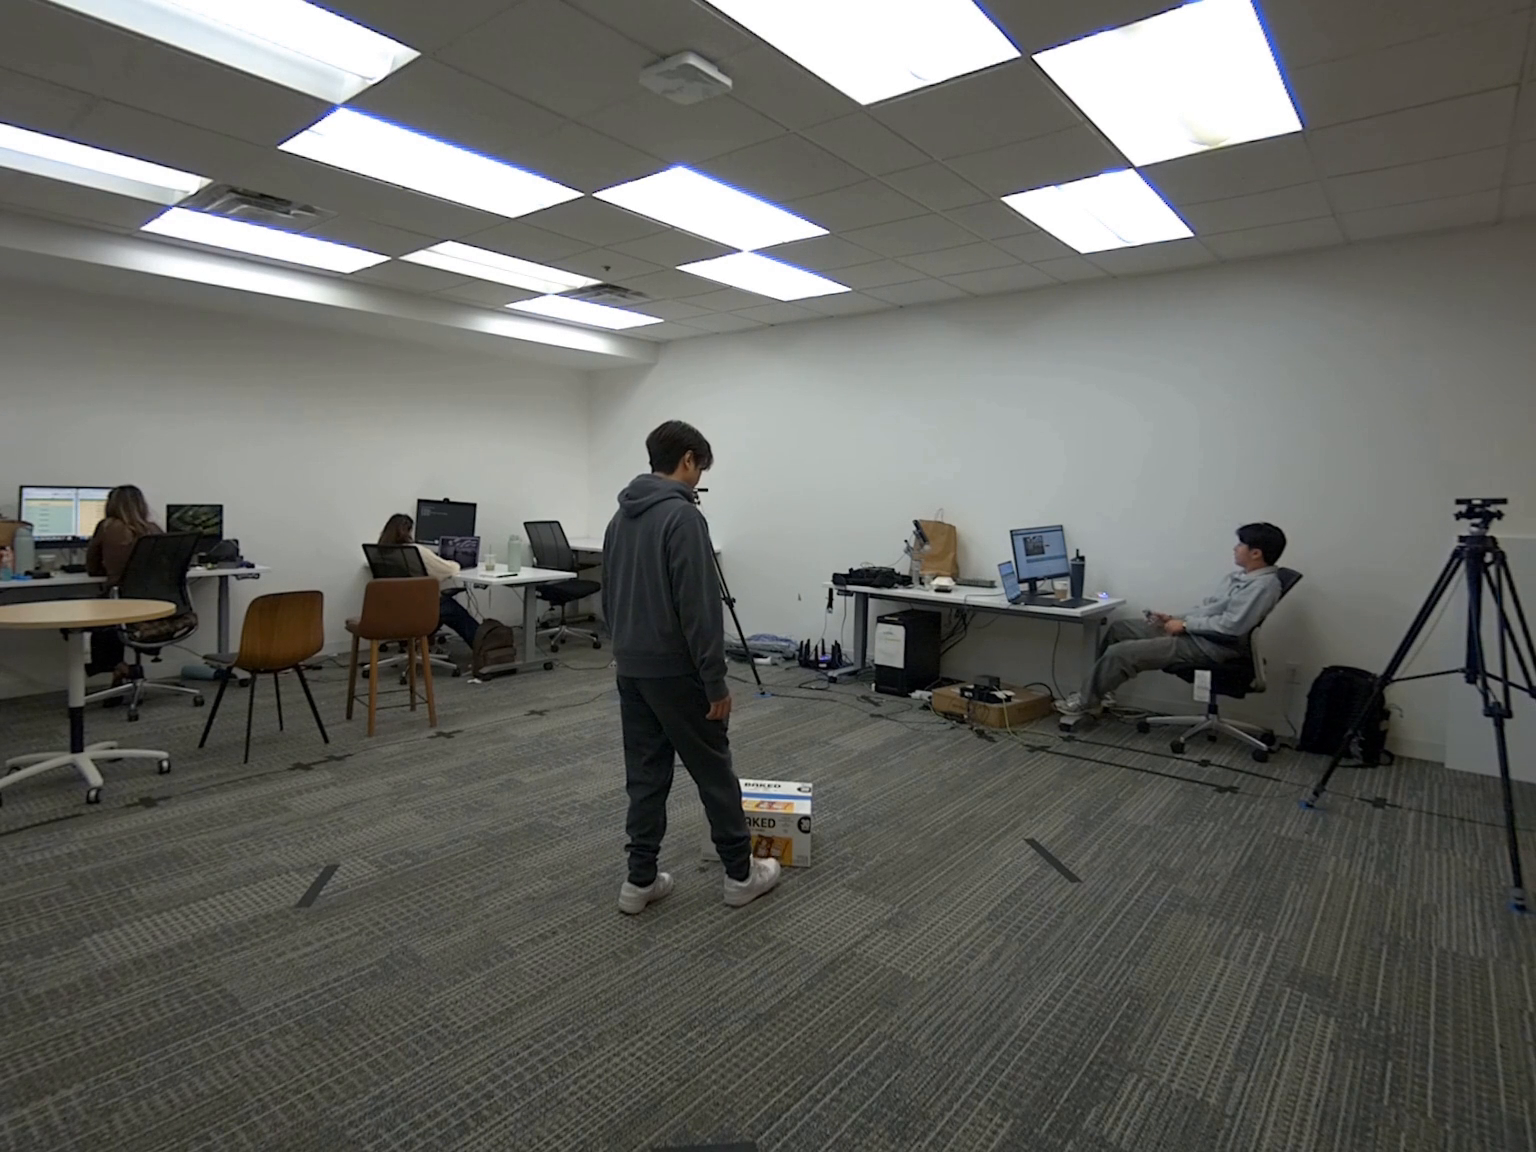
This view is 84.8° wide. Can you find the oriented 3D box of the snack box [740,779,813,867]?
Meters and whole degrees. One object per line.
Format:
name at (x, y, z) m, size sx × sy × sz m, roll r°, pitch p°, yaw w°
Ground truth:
snack box at (-0.041, 0.950, 3.320) m, size 0.408 × 0.205 × 0.339 m, roll 2°, pitch 5°, yaw 5°
